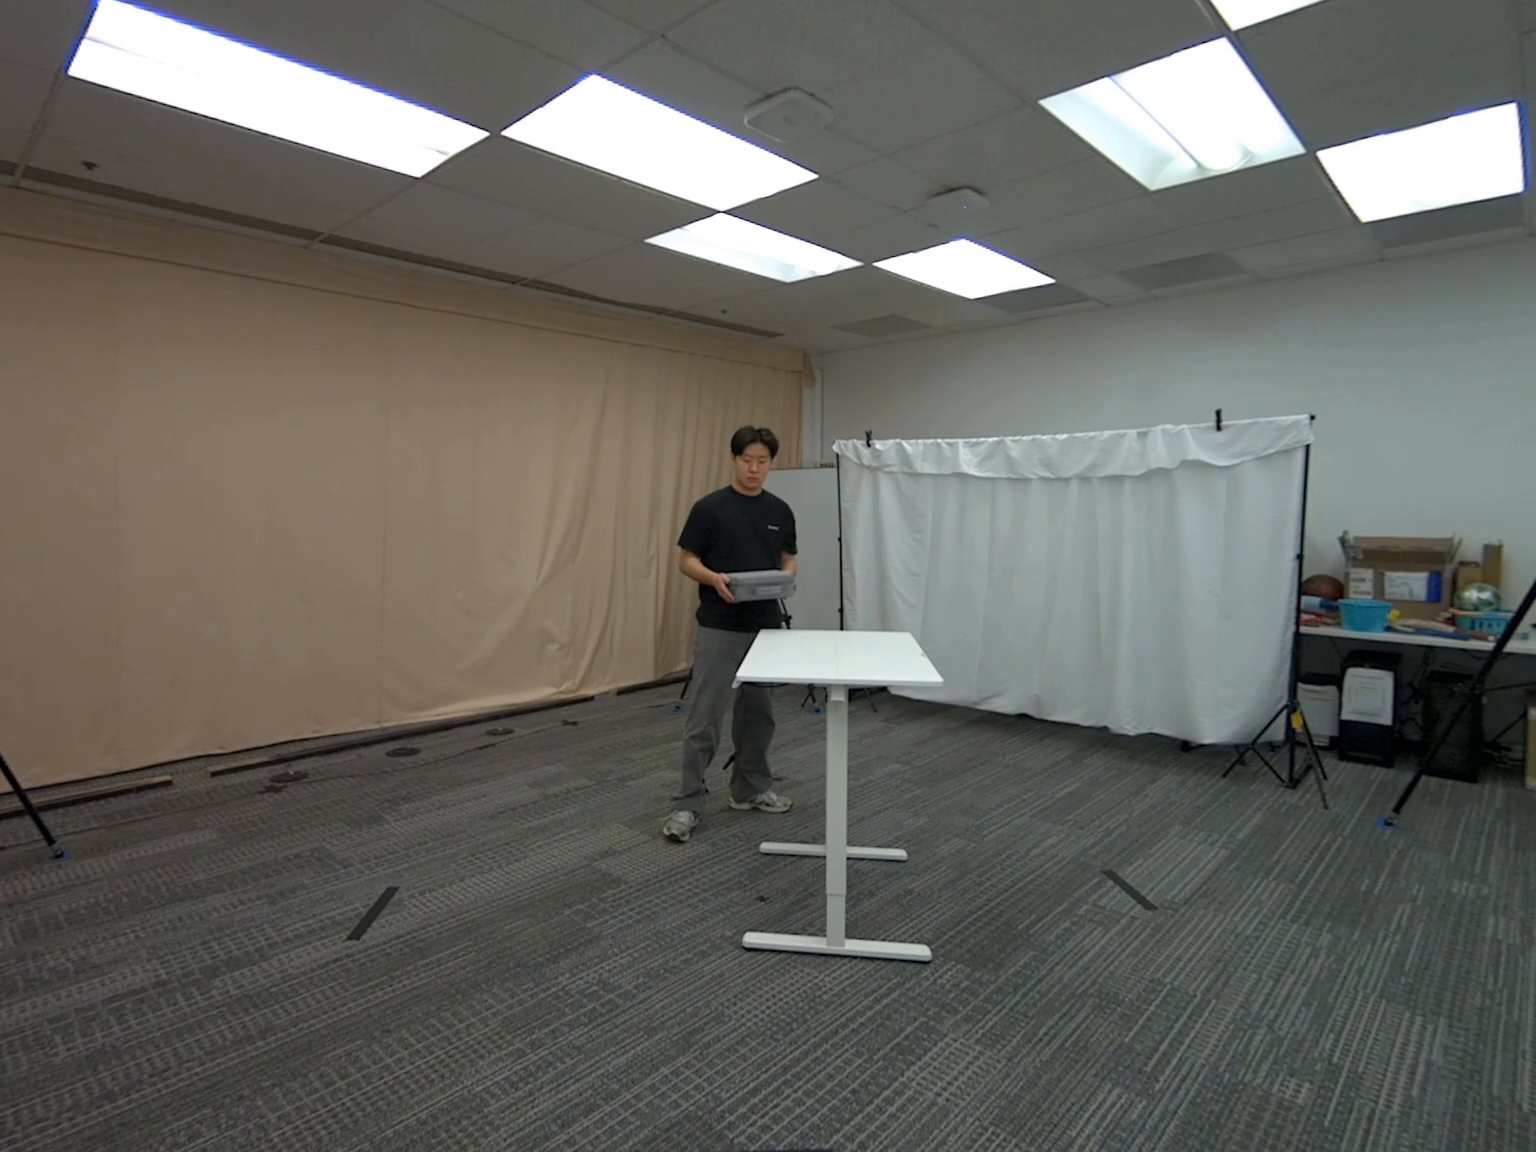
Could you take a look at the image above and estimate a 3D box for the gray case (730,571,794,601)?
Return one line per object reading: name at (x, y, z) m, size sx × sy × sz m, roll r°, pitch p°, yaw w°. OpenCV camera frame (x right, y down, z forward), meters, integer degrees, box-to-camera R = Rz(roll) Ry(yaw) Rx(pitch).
gray case at (-0.076, 0.038, 3.506) m, size 0.283 × 0.103 × 0.268 m, roll -4°, pitch 5°, yaw -15°
